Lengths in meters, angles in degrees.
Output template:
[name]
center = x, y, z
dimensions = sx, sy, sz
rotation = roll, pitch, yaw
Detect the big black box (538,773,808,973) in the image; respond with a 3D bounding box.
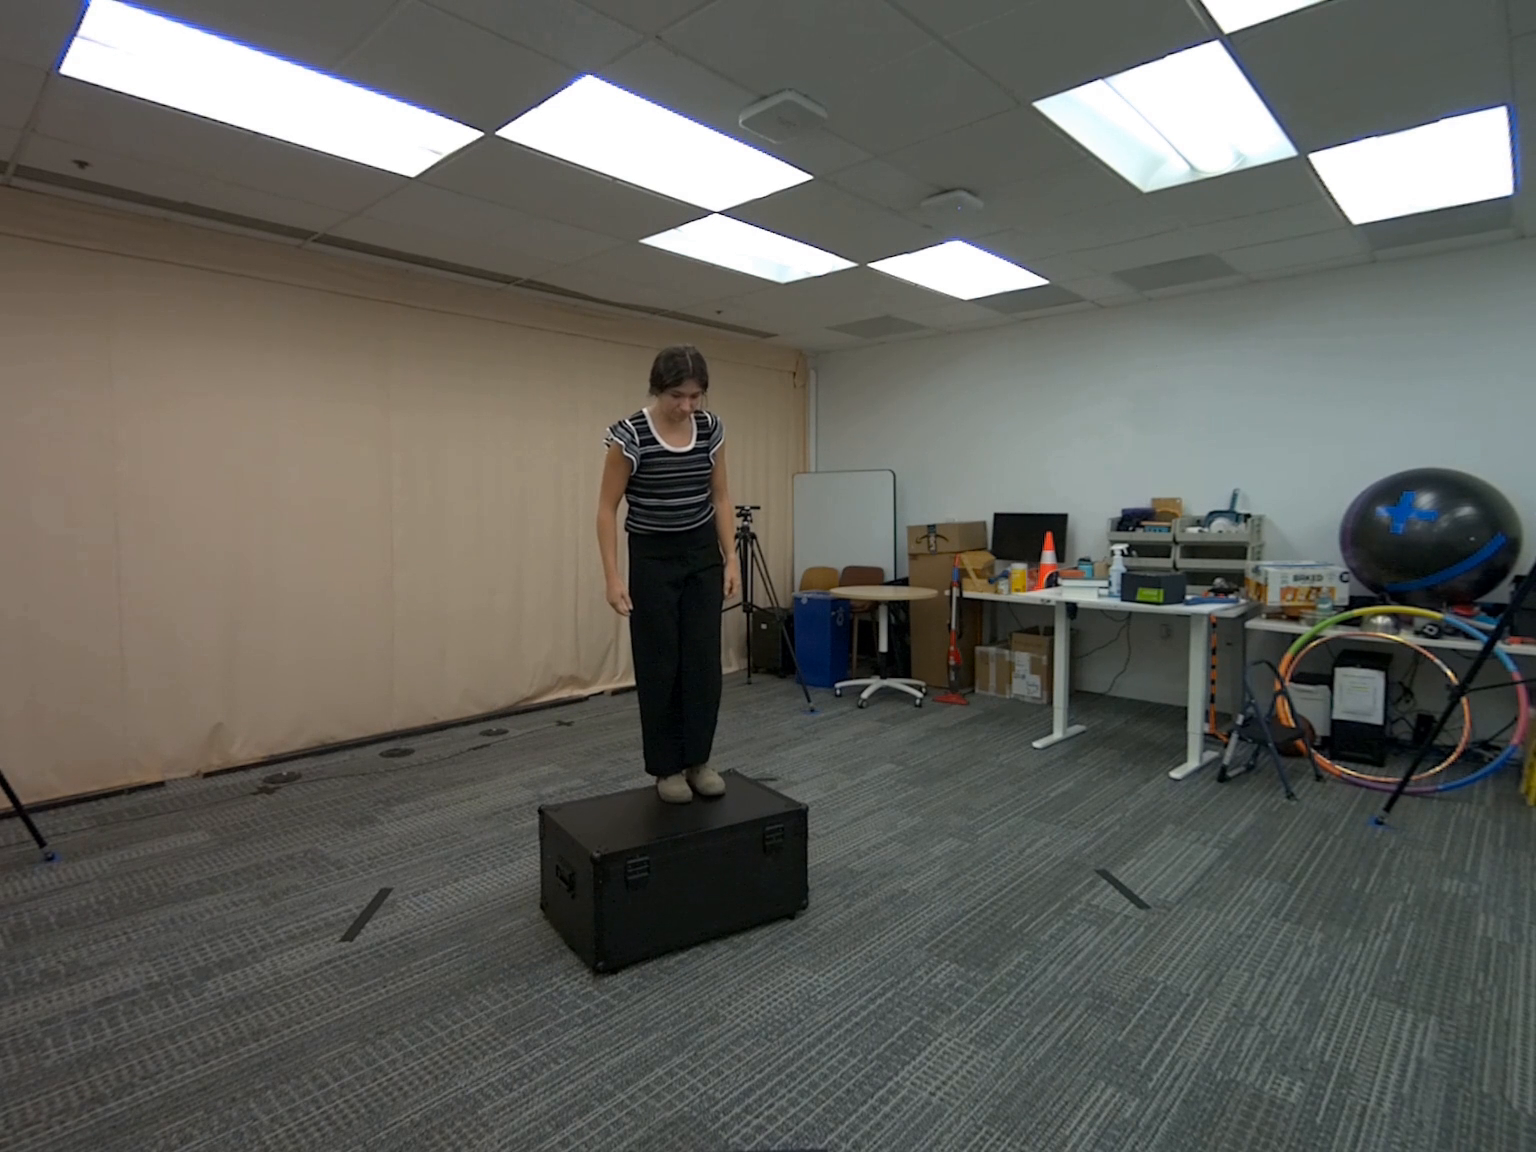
[big black box]
center = -0.292, 0.966, 2.873
dimensions = 0.838, 0.395, 0.537
rotation = -4, 5, -32
